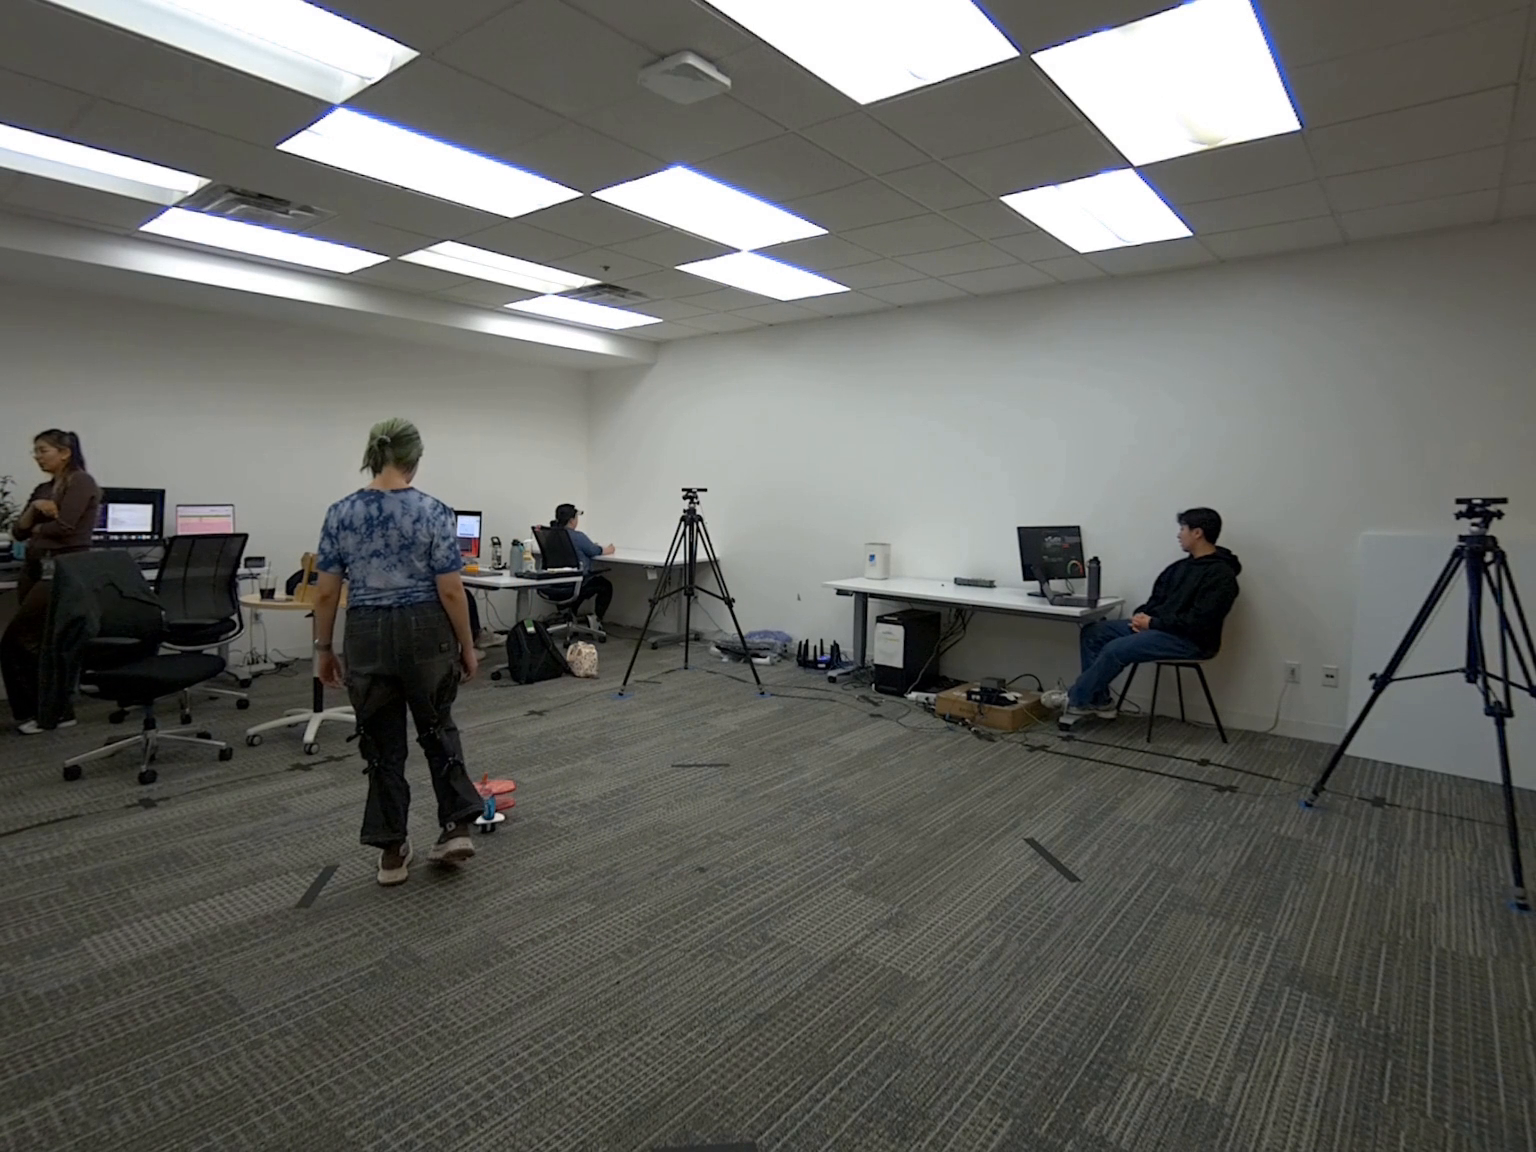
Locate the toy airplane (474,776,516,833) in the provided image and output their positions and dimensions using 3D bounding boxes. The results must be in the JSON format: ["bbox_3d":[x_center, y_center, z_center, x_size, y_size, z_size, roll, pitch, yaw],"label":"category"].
[{"bbox_3d":[-1.167,0.946,3.507,0.267,0.156,0.244,3,5,38],"label":"toy airplane"}]
